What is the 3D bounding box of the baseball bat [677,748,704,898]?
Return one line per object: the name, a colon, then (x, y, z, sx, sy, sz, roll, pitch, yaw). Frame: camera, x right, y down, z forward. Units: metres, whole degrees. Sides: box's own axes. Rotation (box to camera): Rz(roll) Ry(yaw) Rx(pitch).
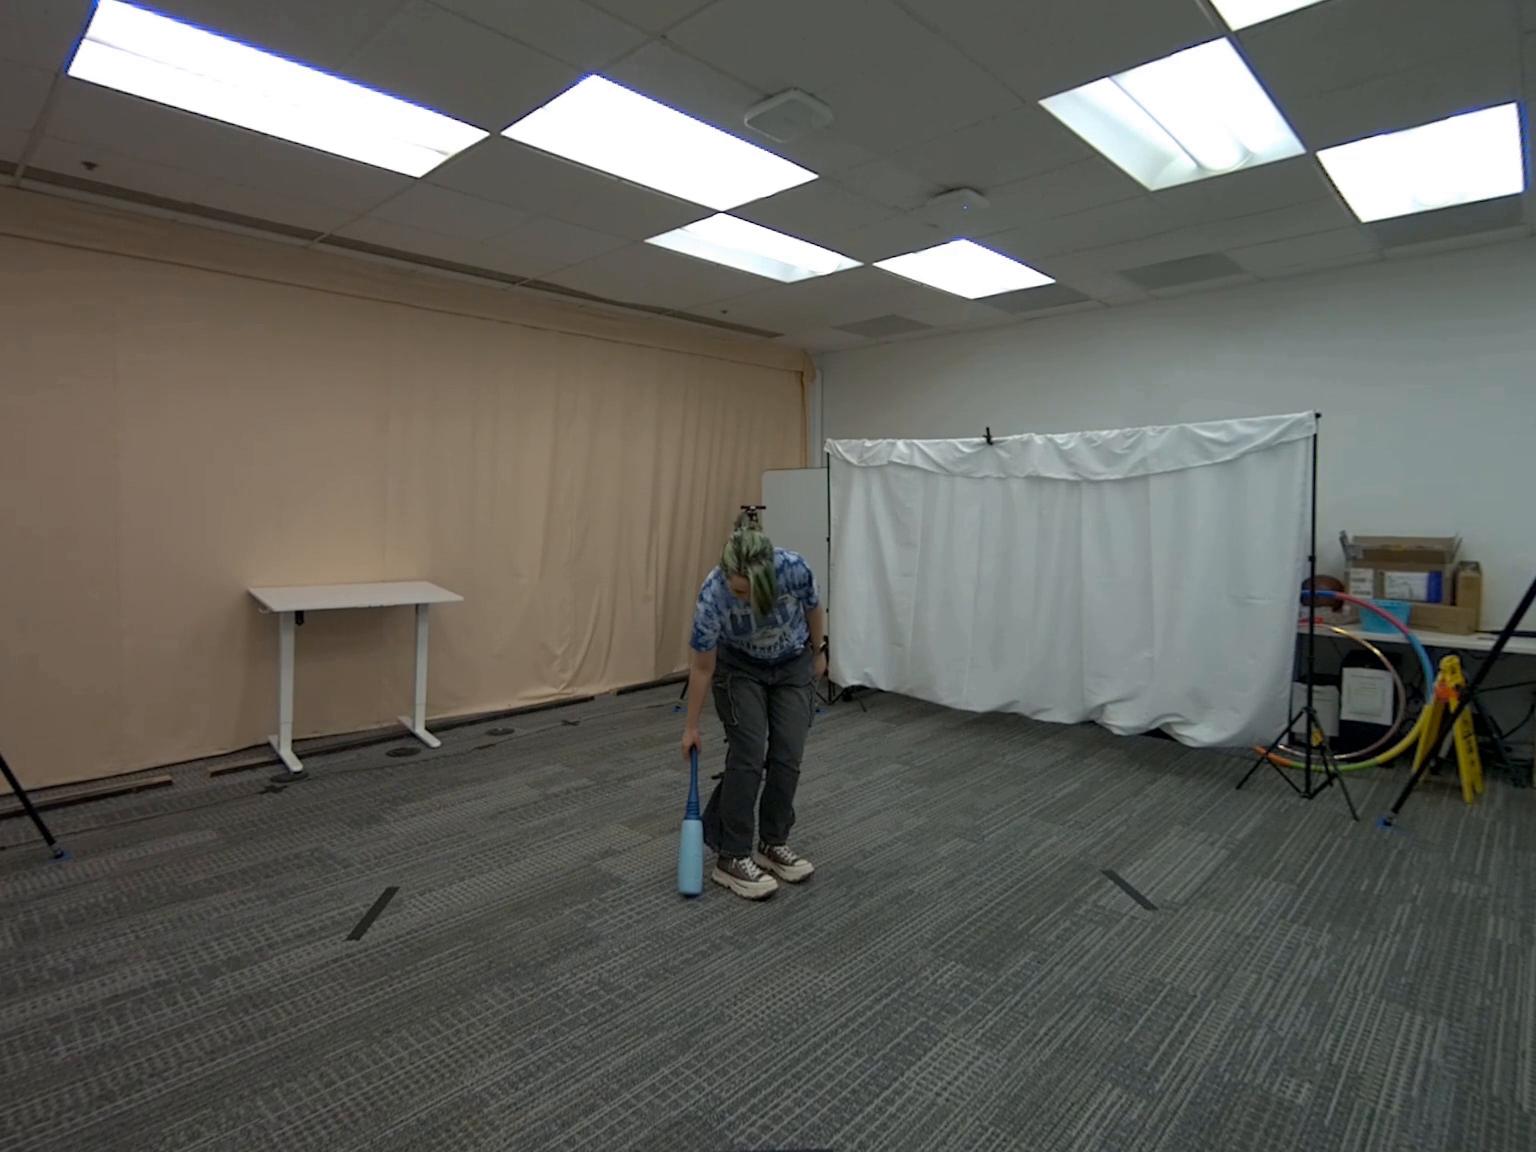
baseball bat: (-0.272, 0.885, 3.094, 0.089, 0.550, 0.088, 1, -22, -1)
